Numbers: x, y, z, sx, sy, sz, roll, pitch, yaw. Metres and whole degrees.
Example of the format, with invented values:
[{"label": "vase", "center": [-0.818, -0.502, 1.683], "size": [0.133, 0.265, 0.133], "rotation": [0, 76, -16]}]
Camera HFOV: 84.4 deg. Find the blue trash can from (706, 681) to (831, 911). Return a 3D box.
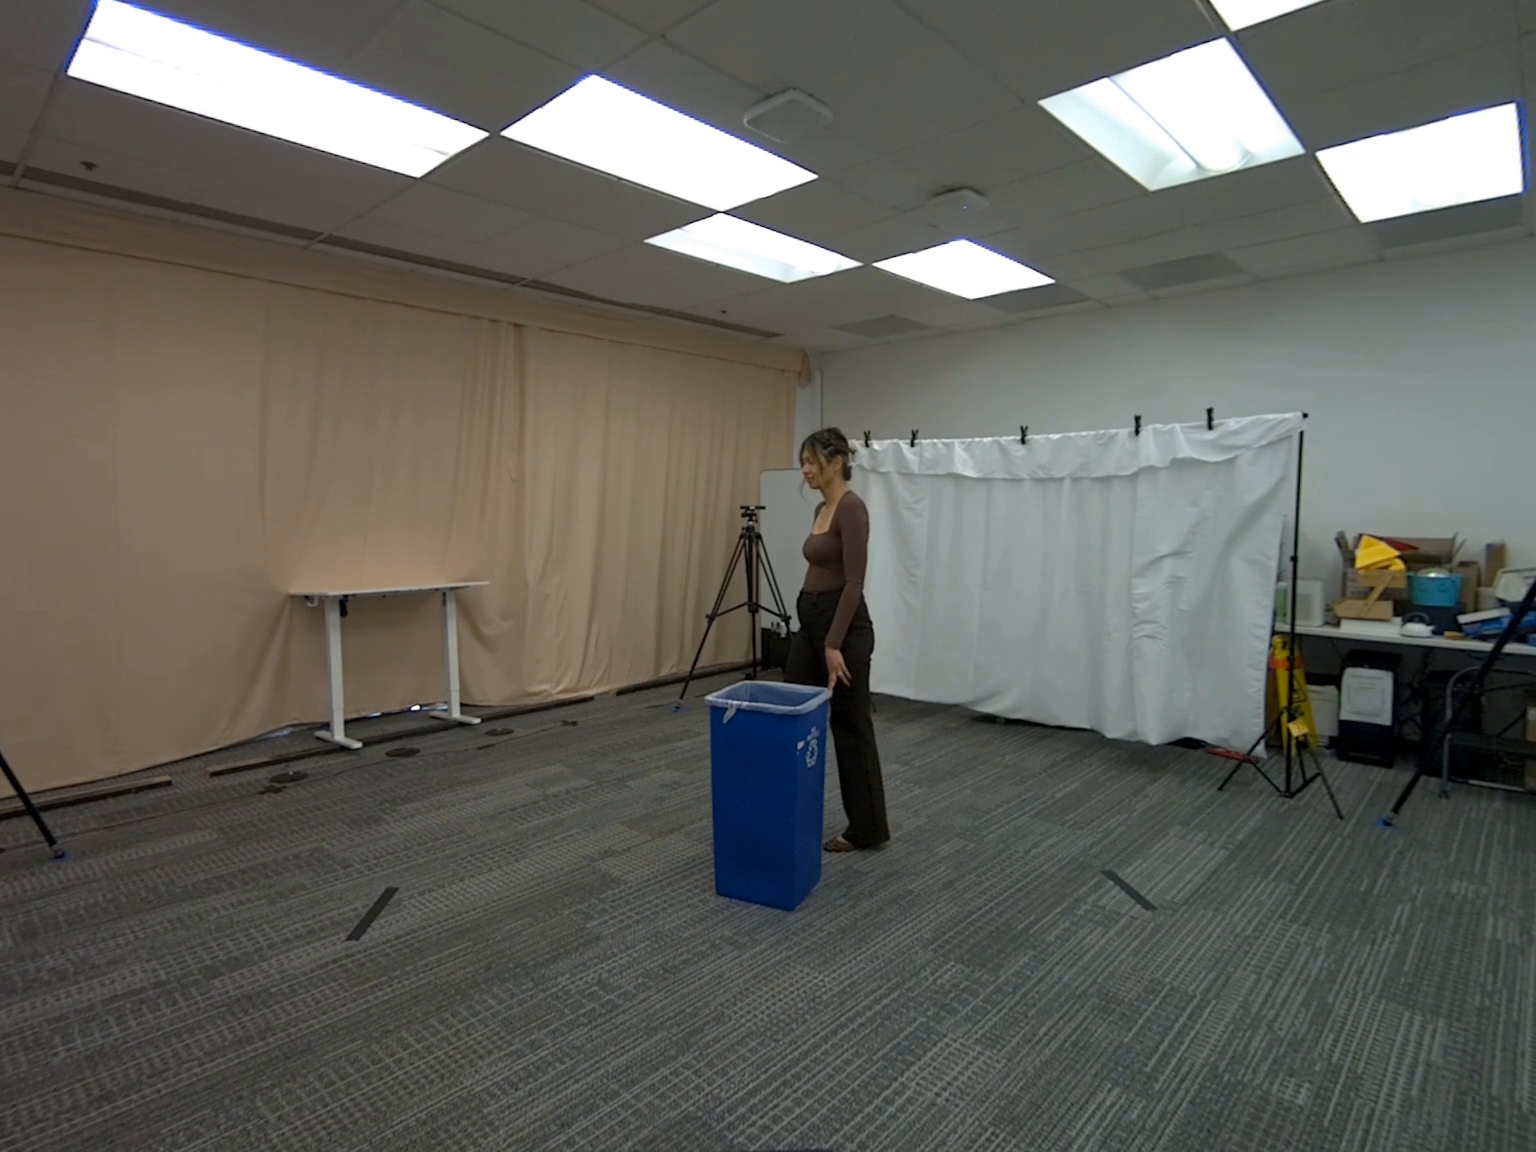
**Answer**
[{"label": "blue trash can", "center": [0.005, 0.777, 3.072], "size": [0.388, 0.712, 0.365], "rotation": [2, 4, 25]}]
